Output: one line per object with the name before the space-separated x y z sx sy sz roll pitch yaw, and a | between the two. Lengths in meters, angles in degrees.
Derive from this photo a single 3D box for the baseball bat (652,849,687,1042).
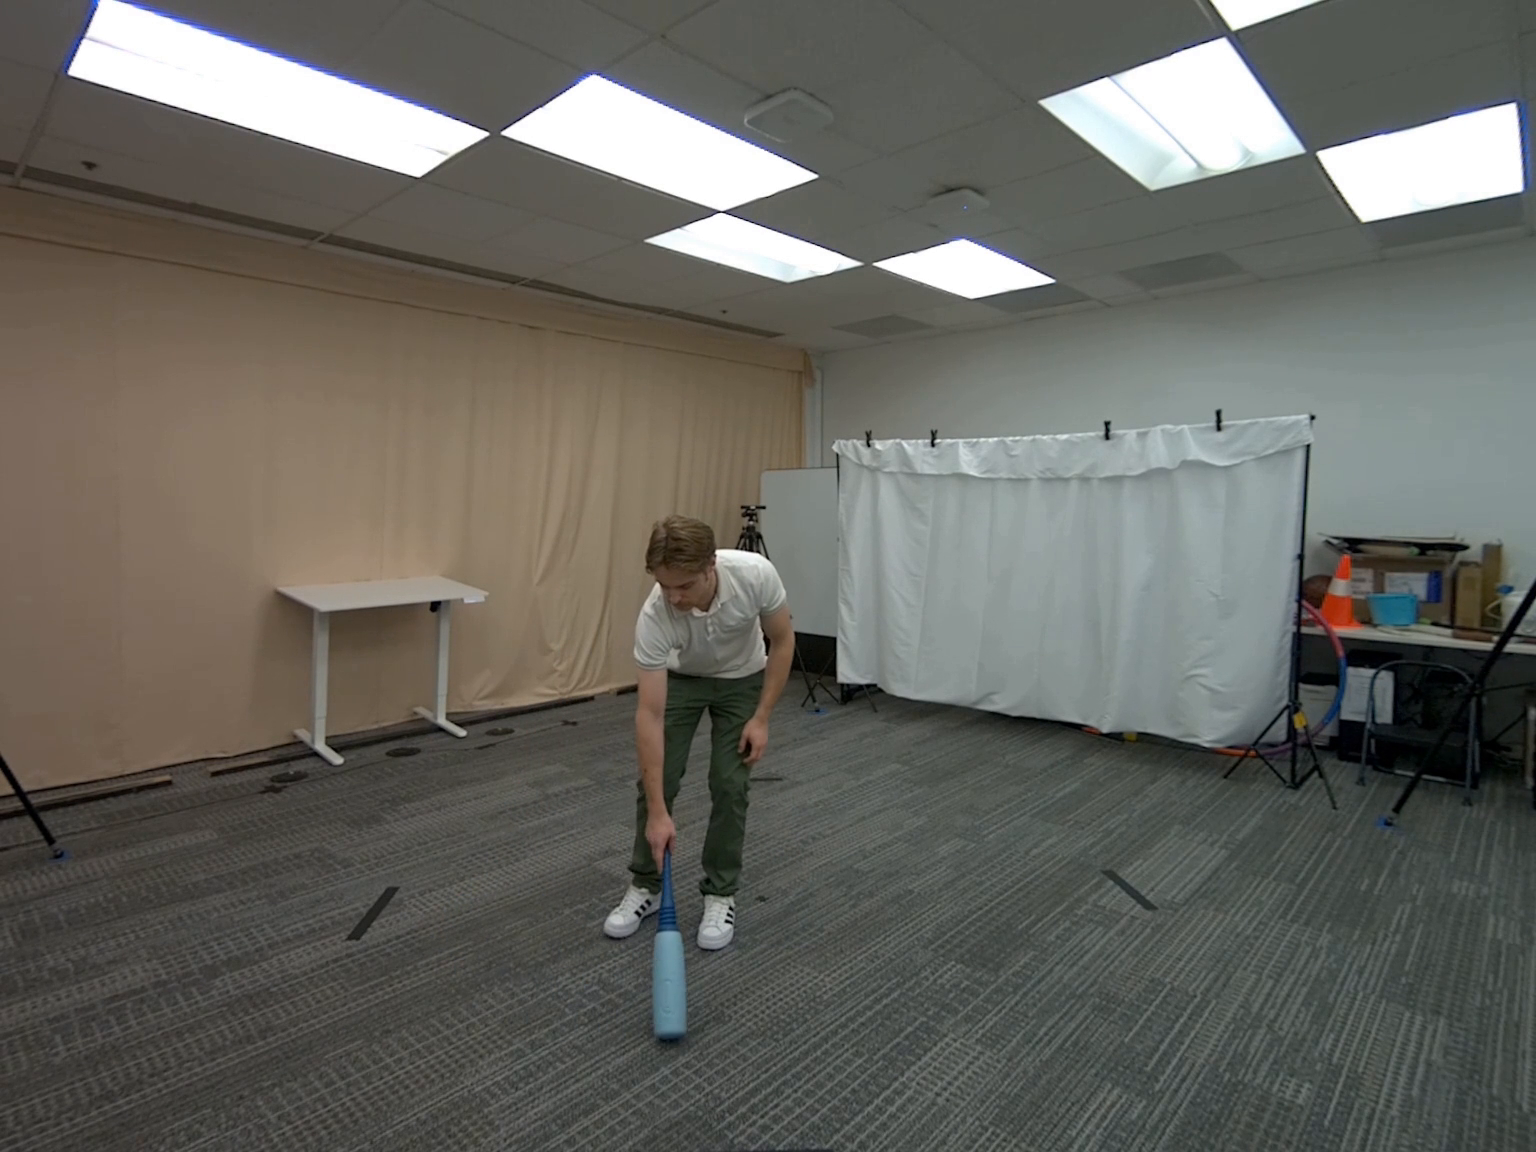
baseball bat | -0.283 0.974 2.334 0.089 0.554 0.087 -3 -36 -4
